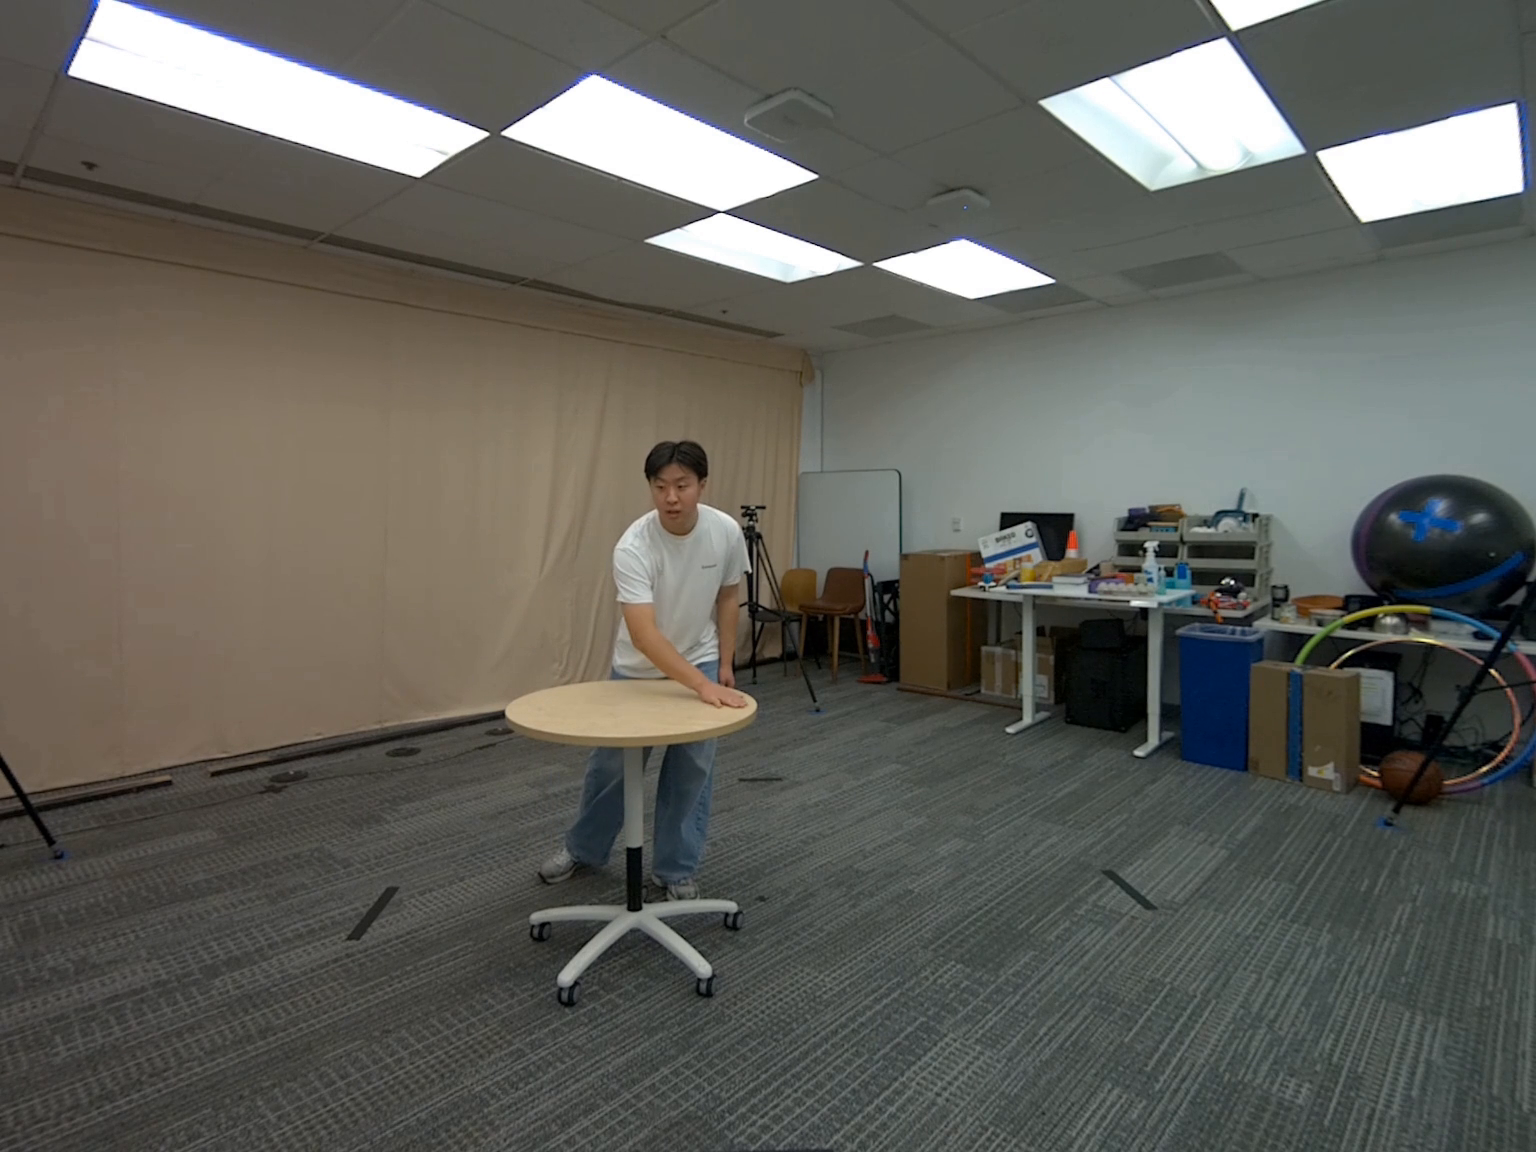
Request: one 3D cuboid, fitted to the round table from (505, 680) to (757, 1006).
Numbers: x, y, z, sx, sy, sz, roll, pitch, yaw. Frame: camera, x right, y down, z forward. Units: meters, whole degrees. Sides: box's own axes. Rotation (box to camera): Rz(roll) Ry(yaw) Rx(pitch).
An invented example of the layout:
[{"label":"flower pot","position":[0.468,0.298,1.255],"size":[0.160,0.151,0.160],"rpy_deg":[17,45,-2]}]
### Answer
[{"label":"round table","position":[-0.404,0.785,2.609],"size":[0.763,0.792,0.766],"rpy_deg":[0,4,-2]}]
